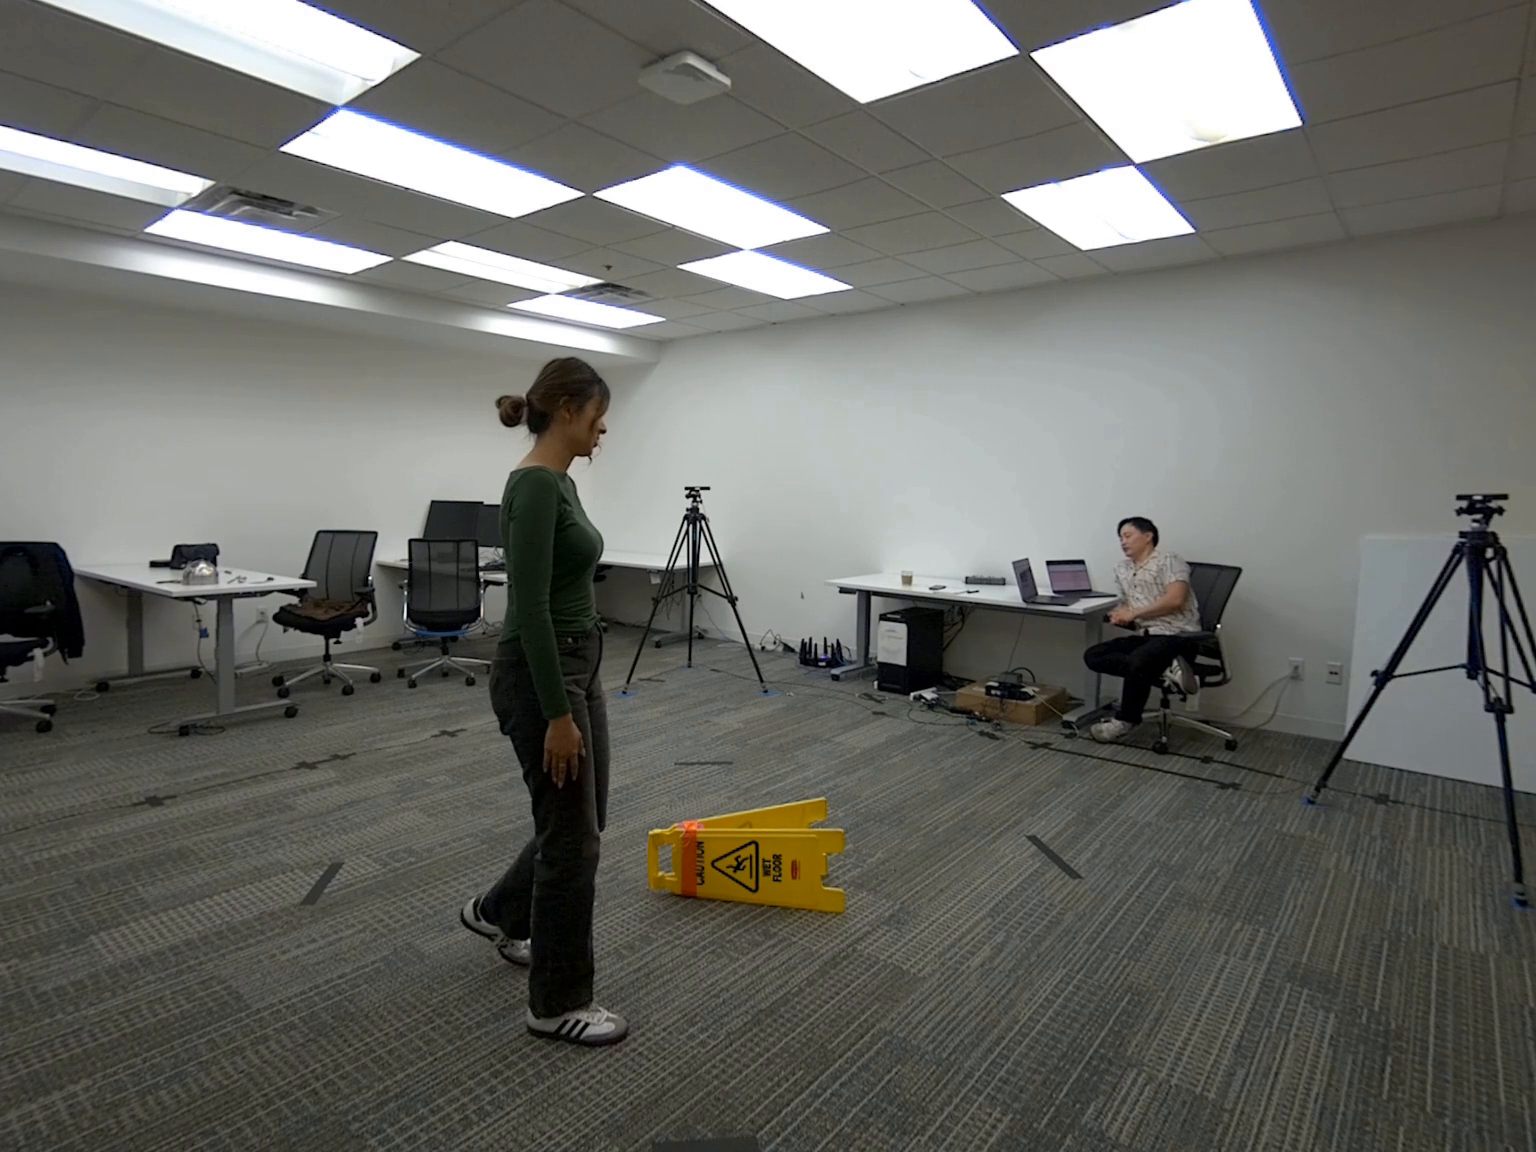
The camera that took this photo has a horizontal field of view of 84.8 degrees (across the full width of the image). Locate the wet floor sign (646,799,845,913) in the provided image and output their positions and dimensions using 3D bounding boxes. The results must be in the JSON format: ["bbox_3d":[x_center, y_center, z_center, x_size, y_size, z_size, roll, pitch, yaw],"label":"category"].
[{"bbox_3d":[-0.101,0.953,2.907,0.643,0.281,0.292,-2,5,-5],"label":"wet floor sign"}]
